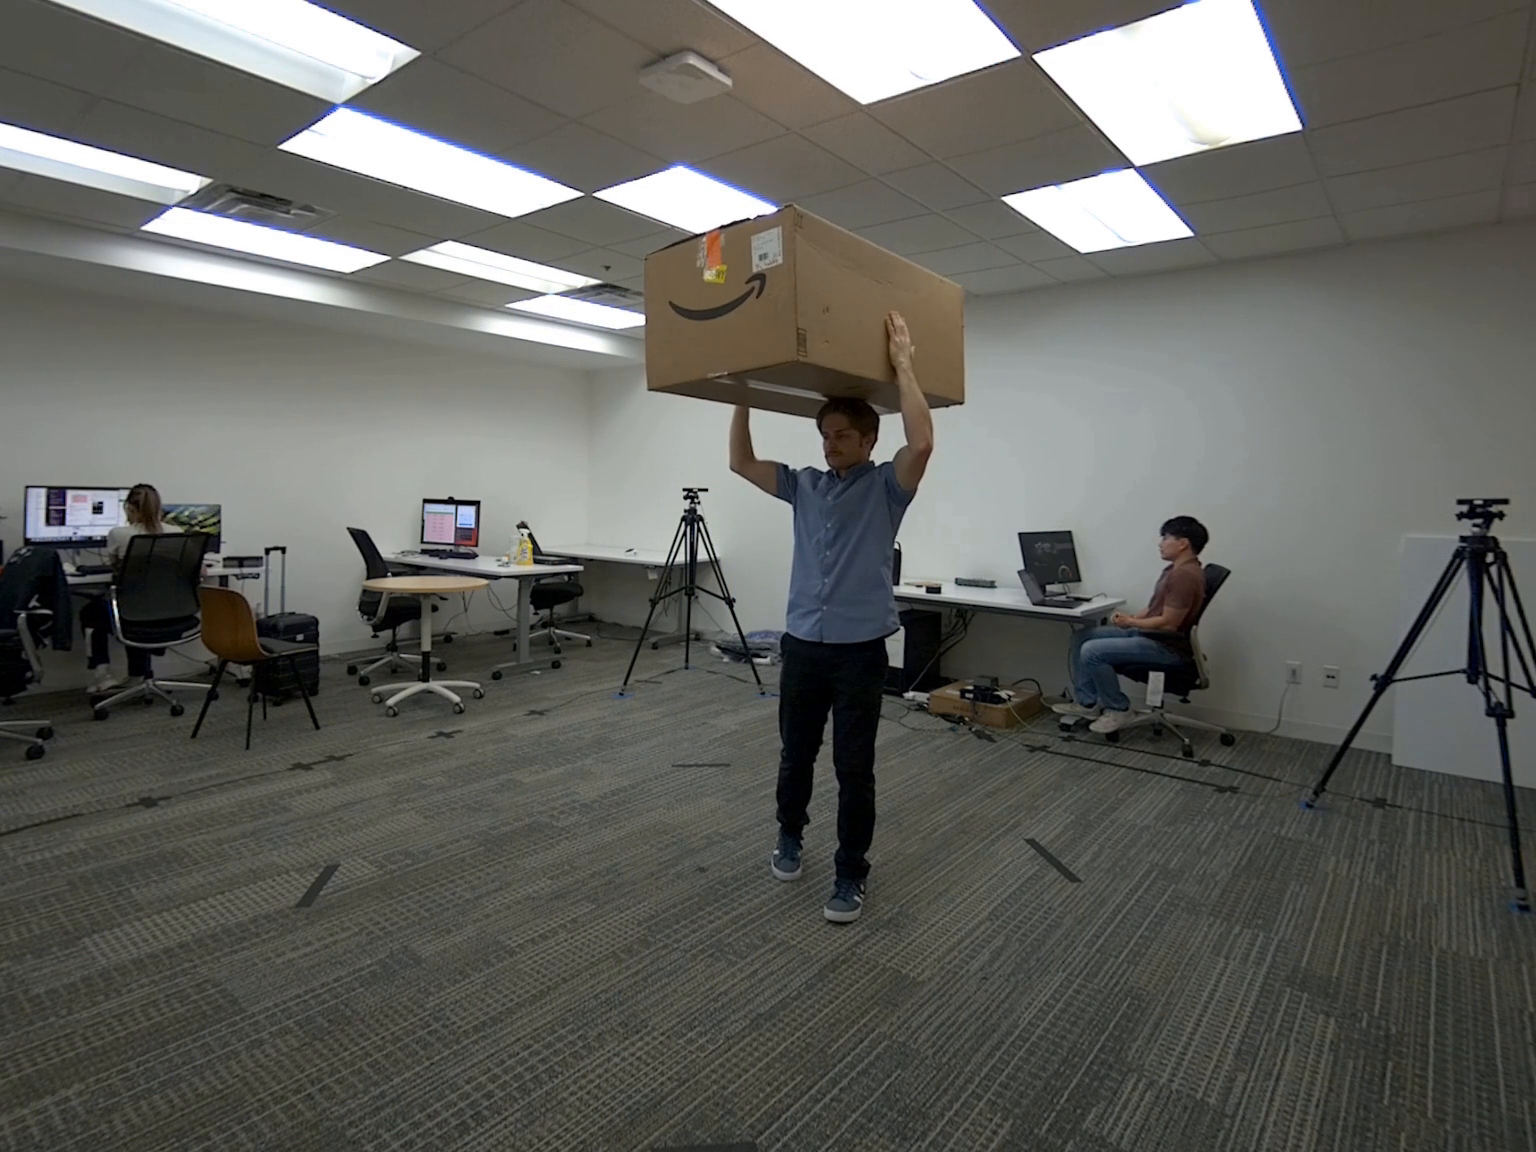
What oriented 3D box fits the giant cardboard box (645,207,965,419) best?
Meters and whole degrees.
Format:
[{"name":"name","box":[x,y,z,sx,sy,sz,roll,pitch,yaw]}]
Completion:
[{"name":"giant cardboard box","box":[0.146,-0.803,2.820,0.595,0.426,0.995,0,2,39]}]
